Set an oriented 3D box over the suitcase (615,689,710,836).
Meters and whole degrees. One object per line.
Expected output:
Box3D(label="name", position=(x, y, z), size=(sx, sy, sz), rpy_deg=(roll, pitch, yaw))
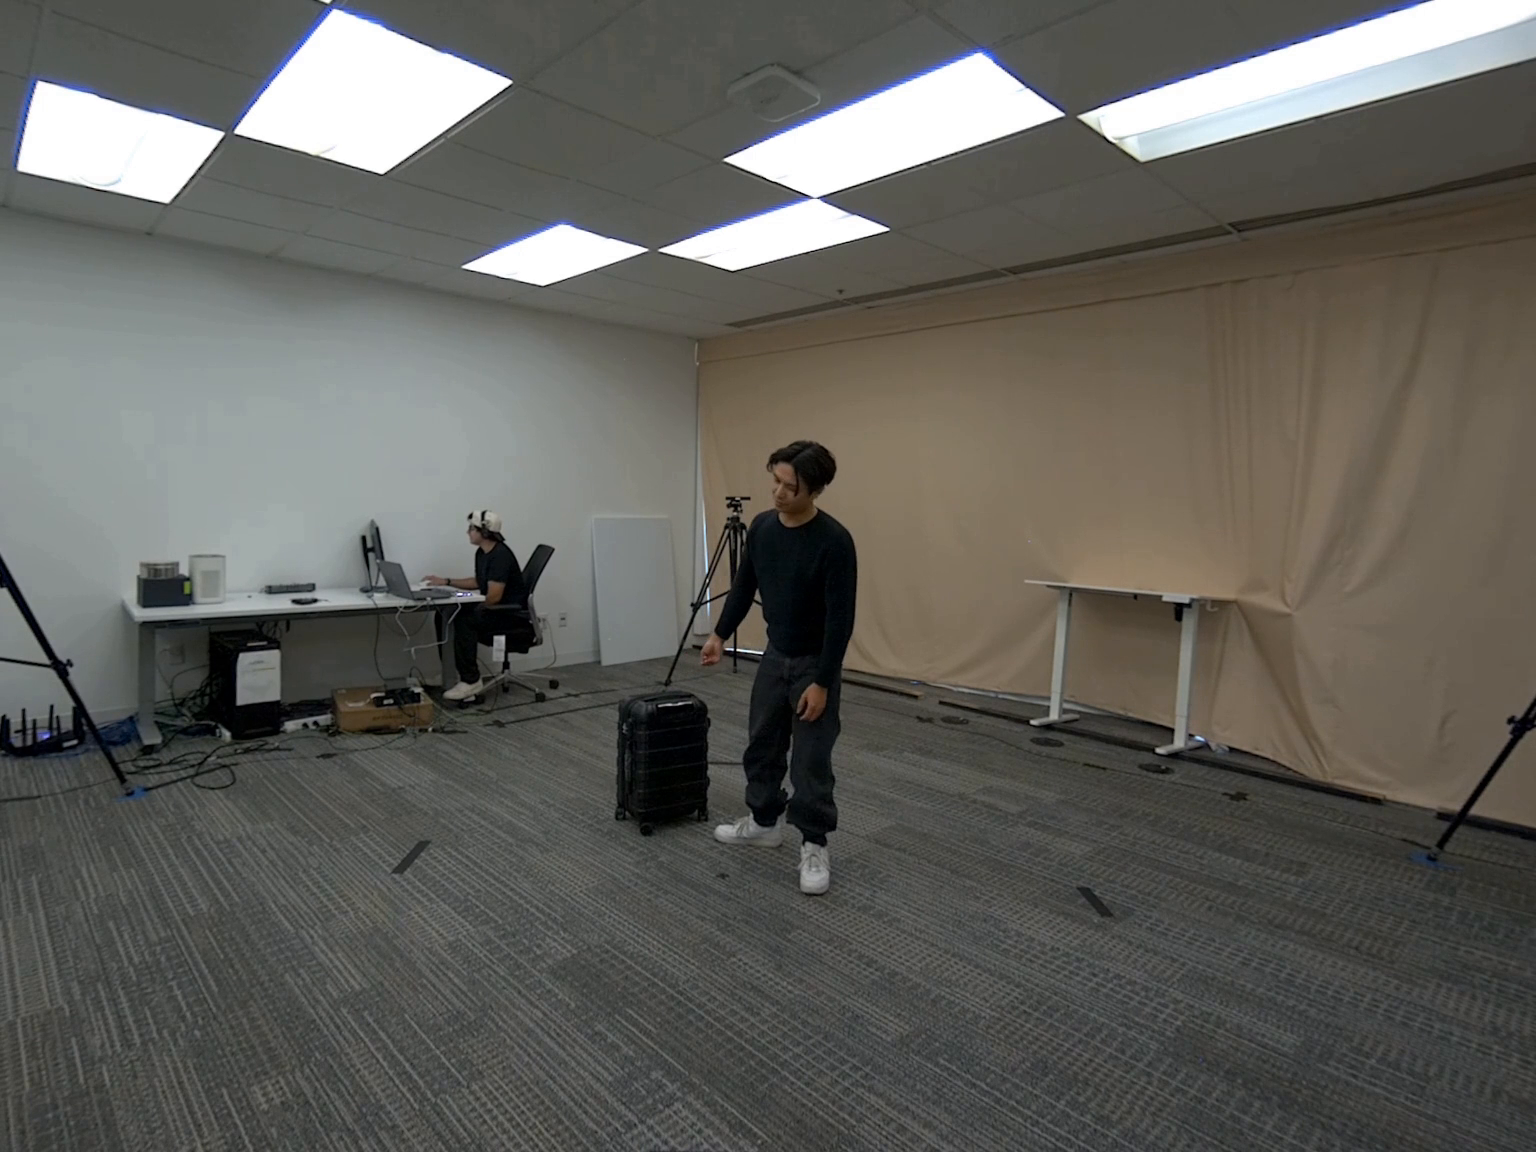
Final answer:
Box3D(label="suitcase", position=(-0.470, 0.775, 3.632), size=(0.367, 0.548, 0.254), rpy_deg=(-1, 4, -32))
